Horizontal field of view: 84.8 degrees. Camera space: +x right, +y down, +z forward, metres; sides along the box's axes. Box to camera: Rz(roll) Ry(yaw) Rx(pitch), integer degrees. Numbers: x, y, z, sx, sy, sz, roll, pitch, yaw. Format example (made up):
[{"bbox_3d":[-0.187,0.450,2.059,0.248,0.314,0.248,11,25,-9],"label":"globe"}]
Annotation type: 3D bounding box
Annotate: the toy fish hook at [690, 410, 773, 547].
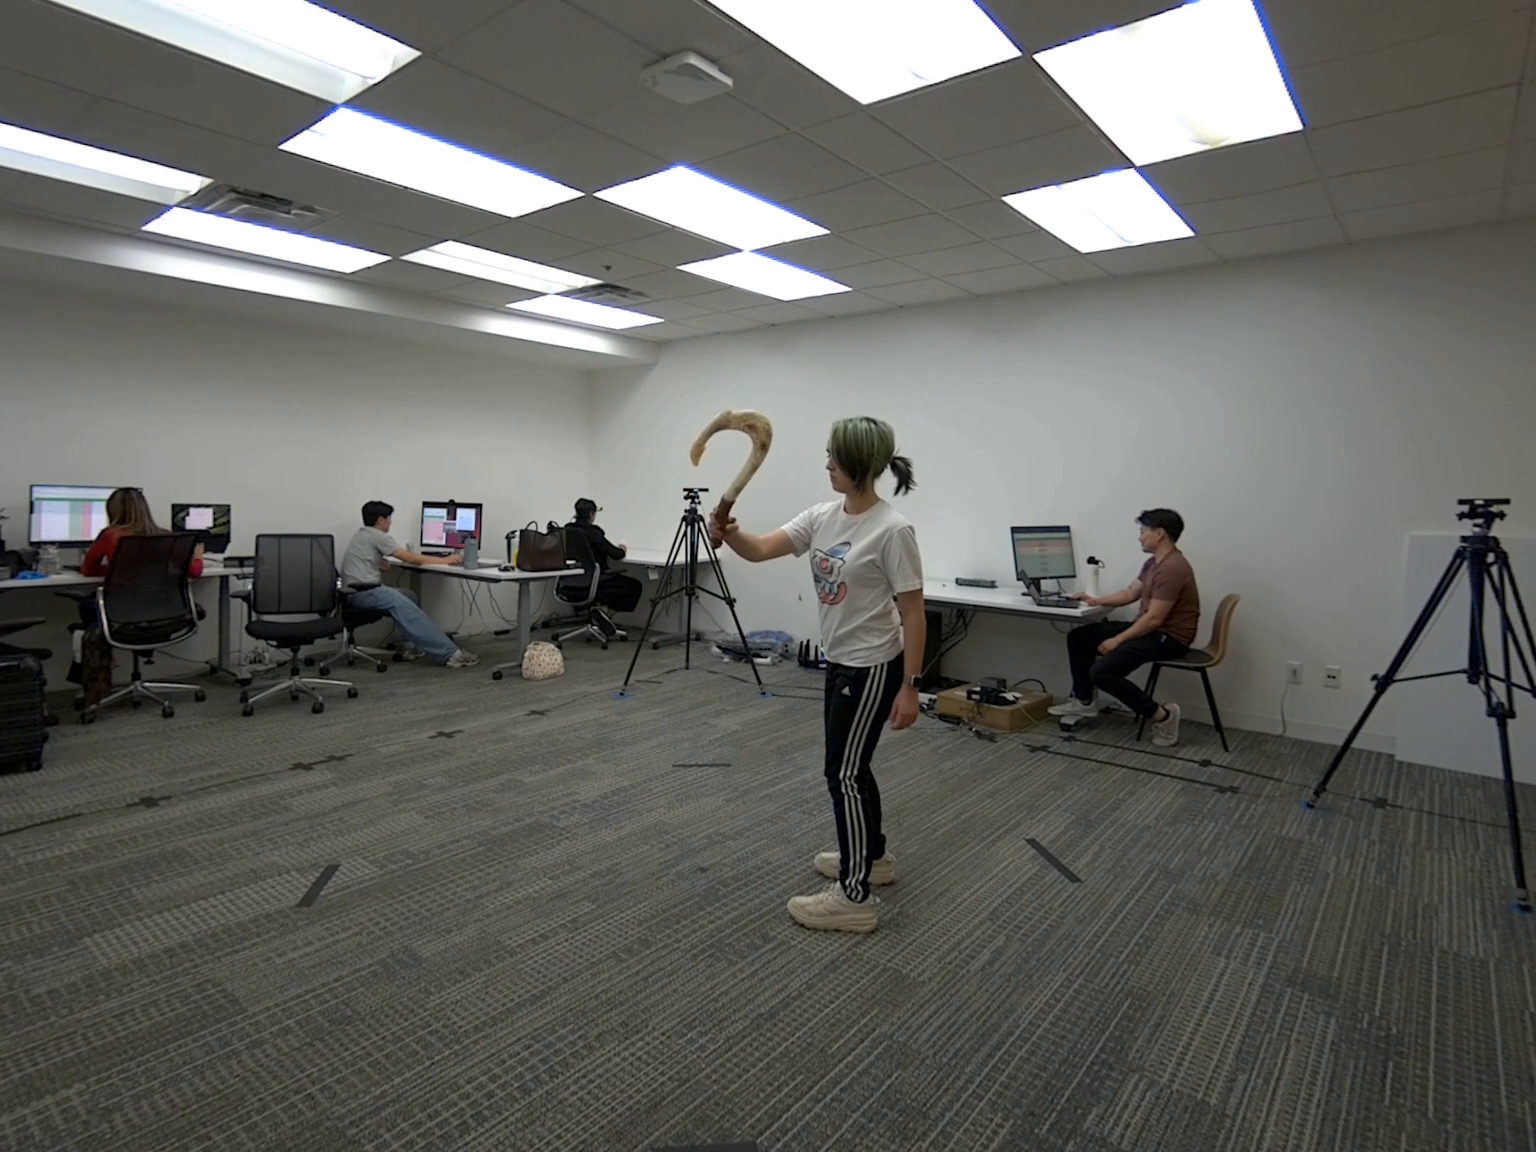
[{"bbox_3d":[-0.166,-0.248,2.417,0.221,0.496,0.050,1,43,-16],"label":"toy fish hook"}]
